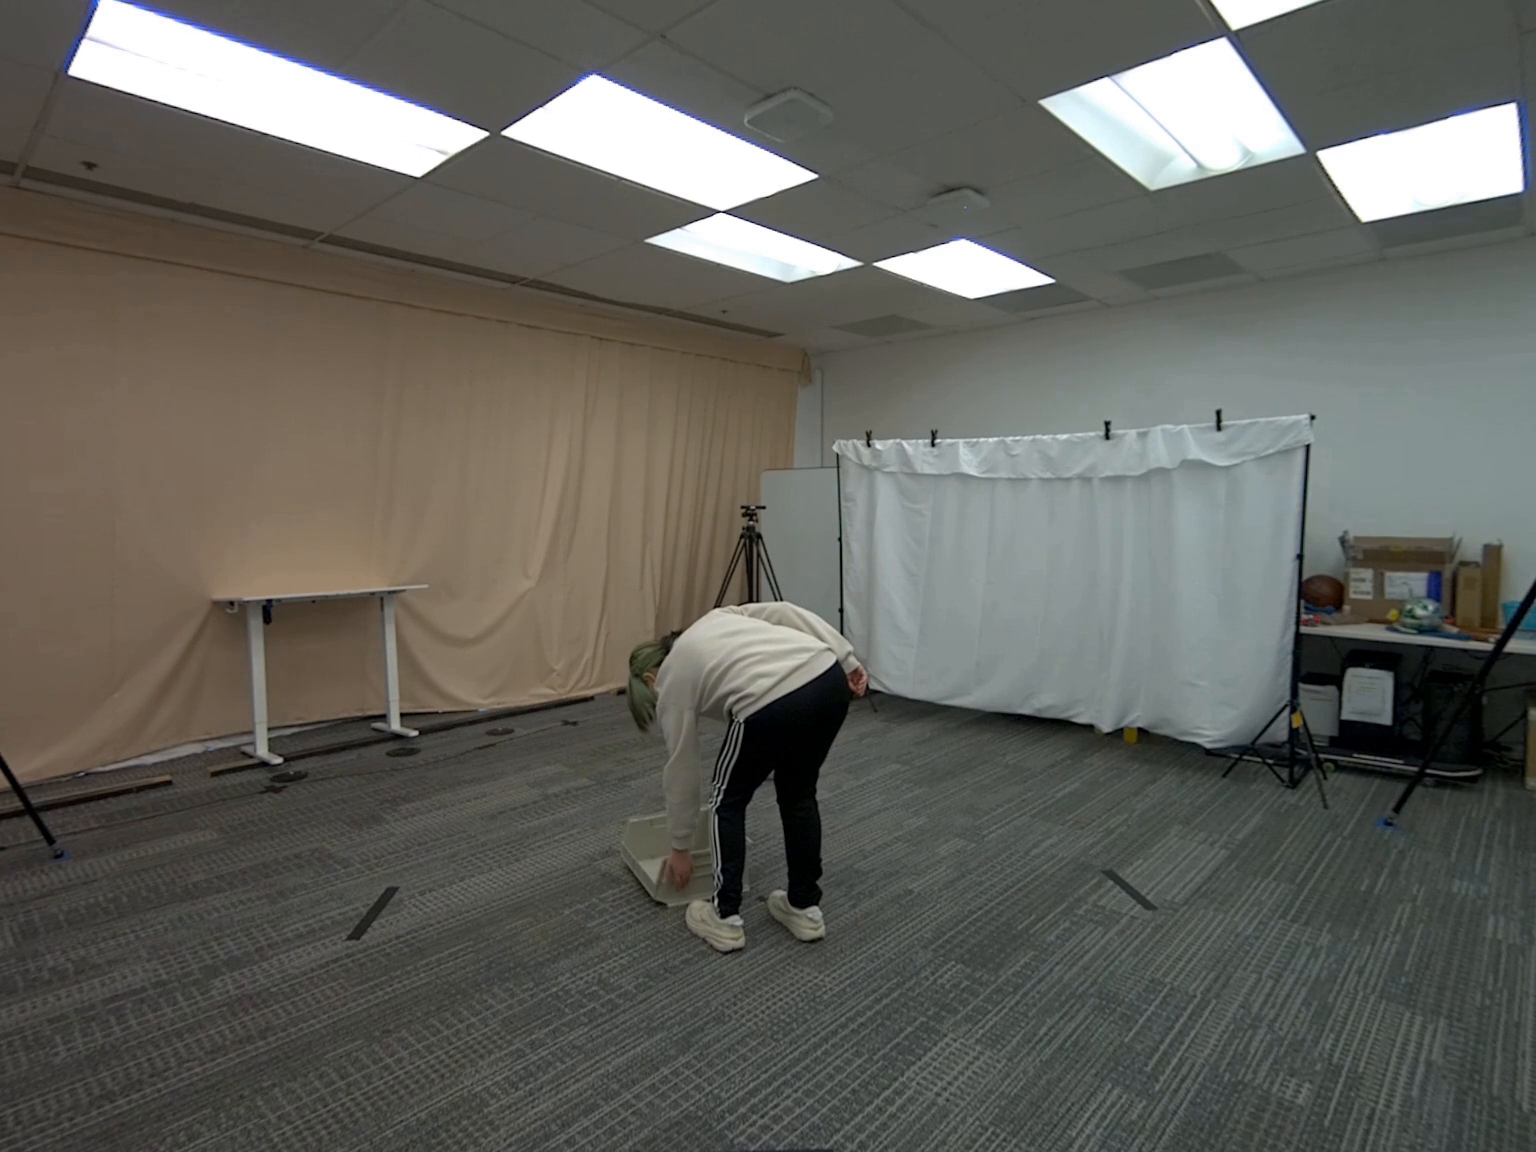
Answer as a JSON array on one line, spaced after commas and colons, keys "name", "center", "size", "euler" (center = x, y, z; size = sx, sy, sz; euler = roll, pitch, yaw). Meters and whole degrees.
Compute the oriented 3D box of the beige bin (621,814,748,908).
[{"name": "beige bin", "center": [-0.316, 1.039, 3.153], "size": [0.368, 0.189, 0.433], "euler": [-2, 3, -25]}]
